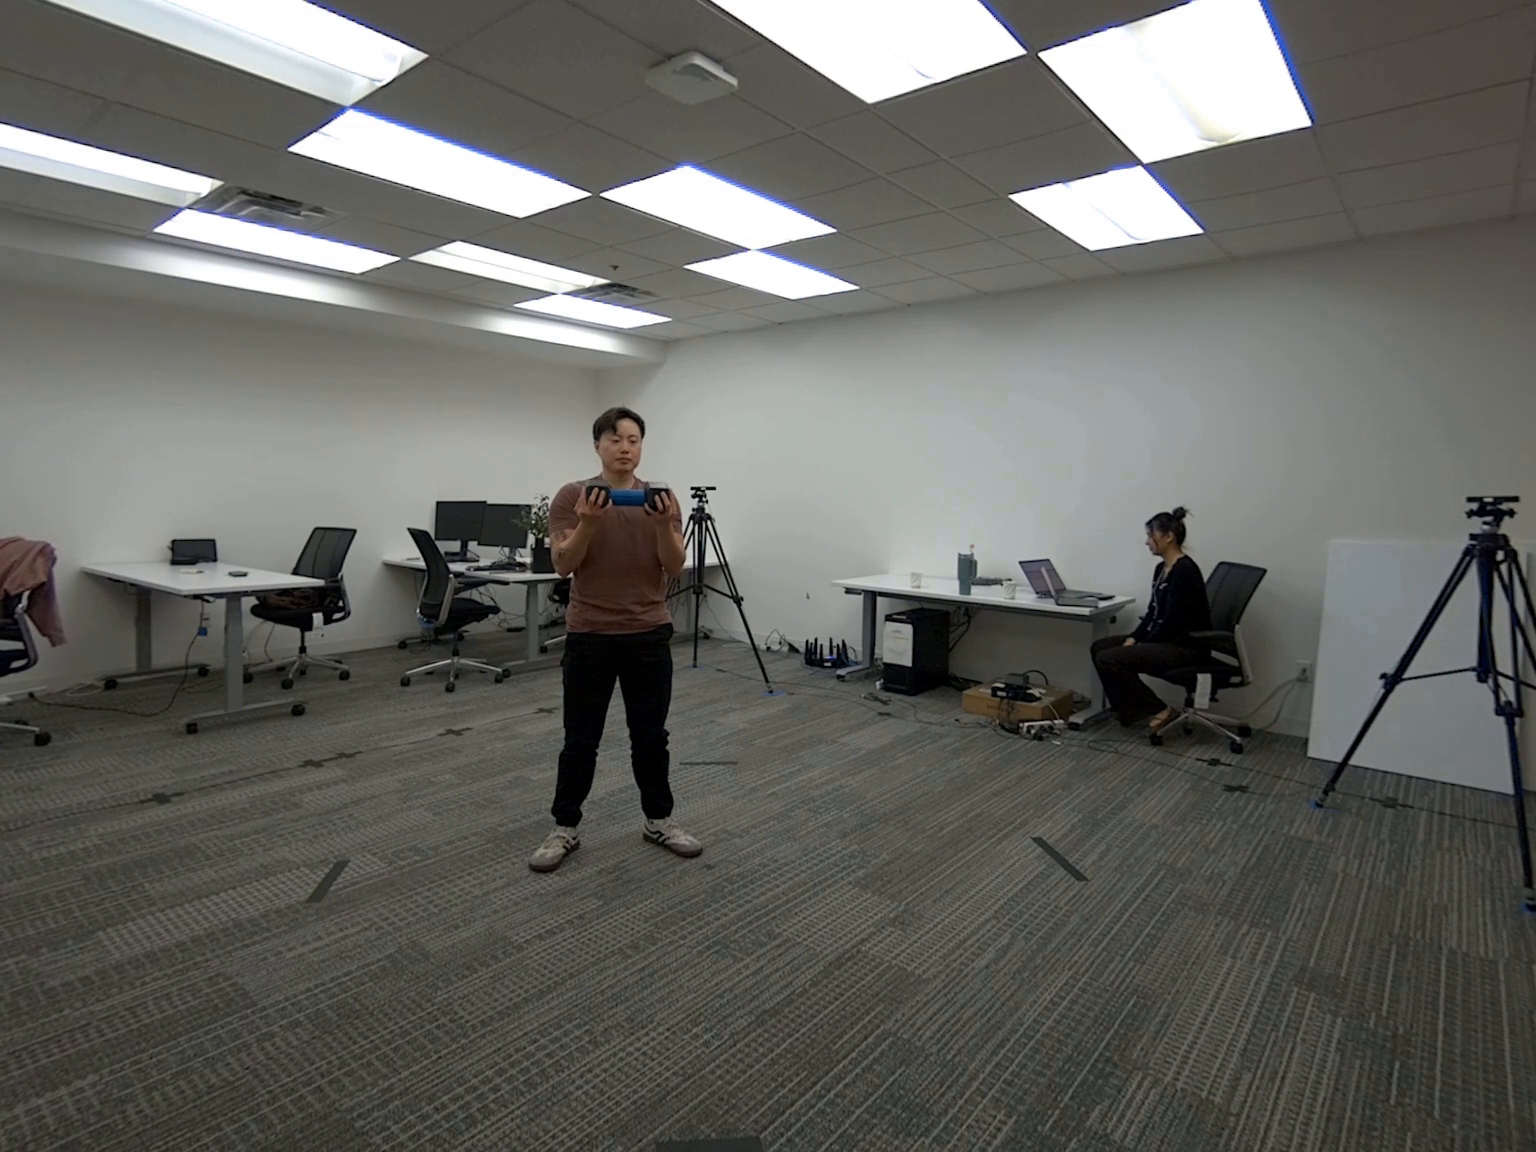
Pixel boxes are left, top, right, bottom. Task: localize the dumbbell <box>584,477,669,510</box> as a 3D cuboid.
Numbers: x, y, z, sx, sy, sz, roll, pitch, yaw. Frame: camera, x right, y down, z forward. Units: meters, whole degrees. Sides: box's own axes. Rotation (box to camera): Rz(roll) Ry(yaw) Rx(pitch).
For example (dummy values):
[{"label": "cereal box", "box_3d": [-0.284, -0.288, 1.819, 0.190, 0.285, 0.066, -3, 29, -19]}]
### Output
[{"label": "dumbbell", "box_3d": [-0.510, -0.280, 2.990, 0.290, 0.112, 0.121, 2, -33, -11]}]
